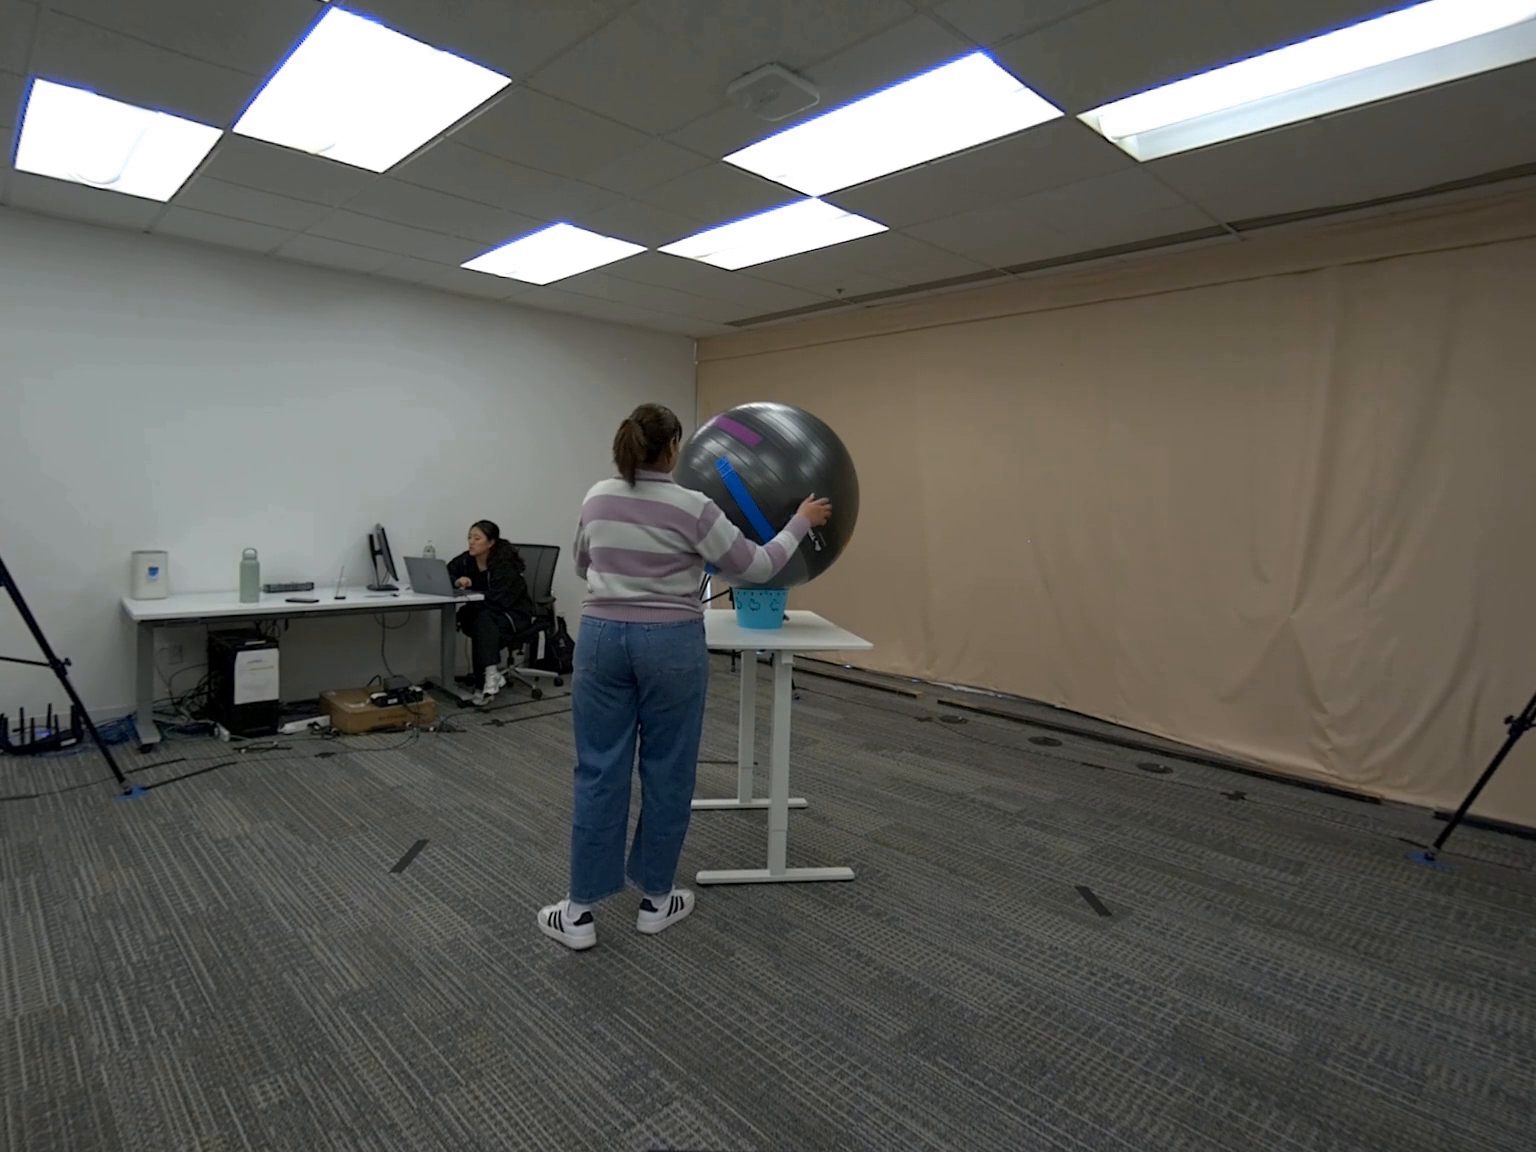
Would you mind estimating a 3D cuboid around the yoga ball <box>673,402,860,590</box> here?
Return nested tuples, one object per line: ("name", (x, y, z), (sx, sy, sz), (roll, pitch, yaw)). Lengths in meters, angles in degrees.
("yoga ball", (-0.016, -0.310, 3.371), (0.757, 0.756, 0.761), (1, 4, -1))
